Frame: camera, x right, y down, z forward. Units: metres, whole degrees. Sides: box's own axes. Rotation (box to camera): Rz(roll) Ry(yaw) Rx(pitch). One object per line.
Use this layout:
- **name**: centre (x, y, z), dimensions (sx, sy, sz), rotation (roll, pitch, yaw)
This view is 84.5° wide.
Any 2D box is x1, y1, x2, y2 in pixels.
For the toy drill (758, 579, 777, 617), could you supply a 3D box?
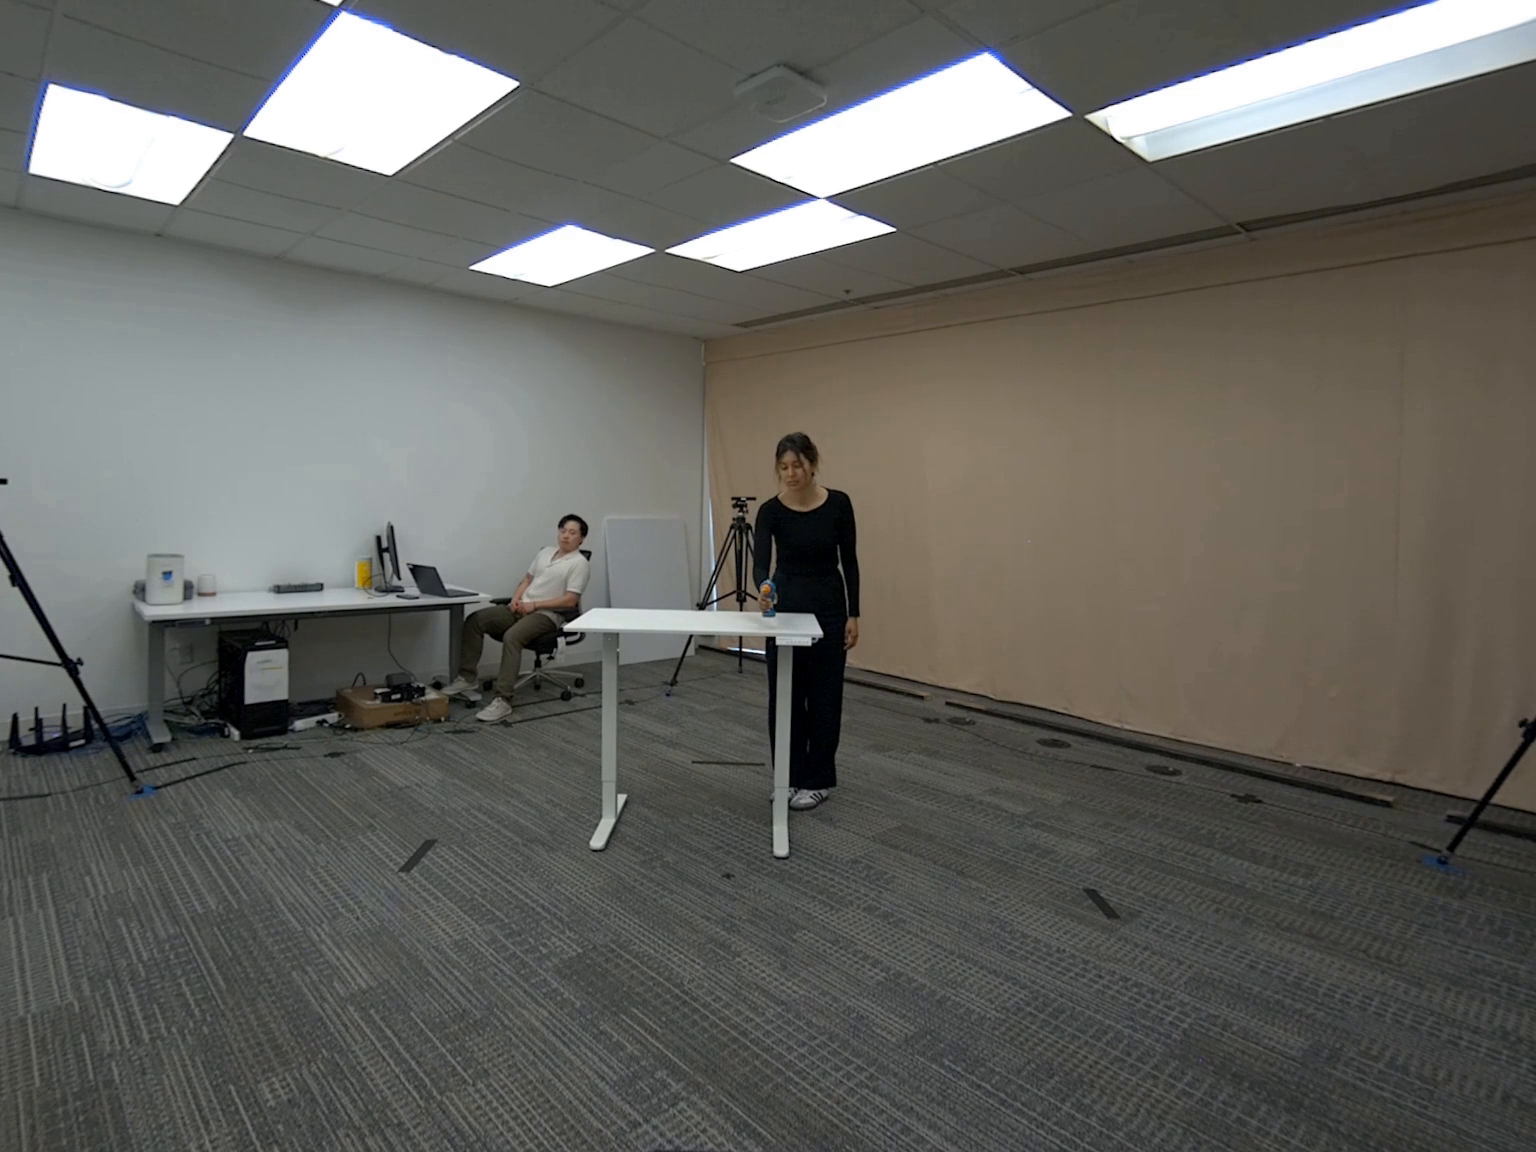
- **toy drill**: centre (-0.016, 0.090, 3.290), dimensions (0.061, 0.146, 0.169), rotation (-4, 2, 8)
